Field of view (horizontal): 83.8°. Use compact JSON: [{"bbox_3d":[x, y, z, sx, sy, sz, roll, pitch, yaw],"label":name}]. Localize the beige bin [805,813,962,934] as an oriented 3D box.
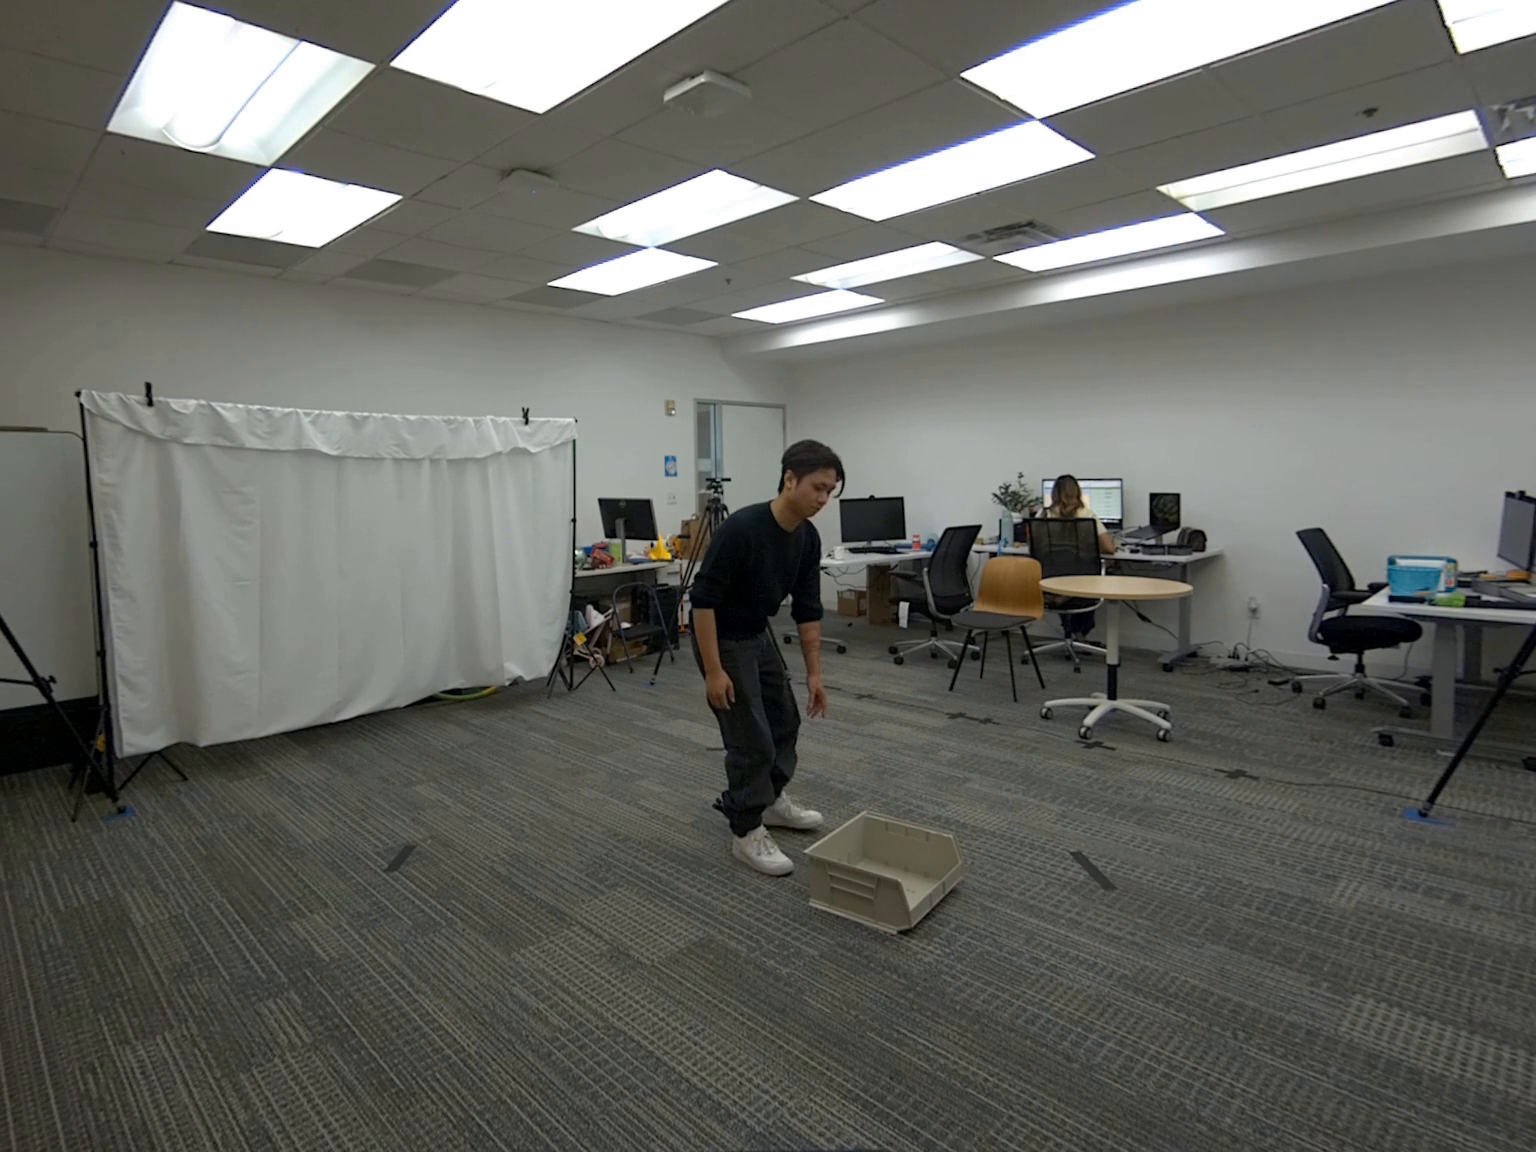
[{"bbox_3d":[0.396,0.979,2.836,0.388,0.188,0.412,2,7,36],"label":"beige bin"}]
